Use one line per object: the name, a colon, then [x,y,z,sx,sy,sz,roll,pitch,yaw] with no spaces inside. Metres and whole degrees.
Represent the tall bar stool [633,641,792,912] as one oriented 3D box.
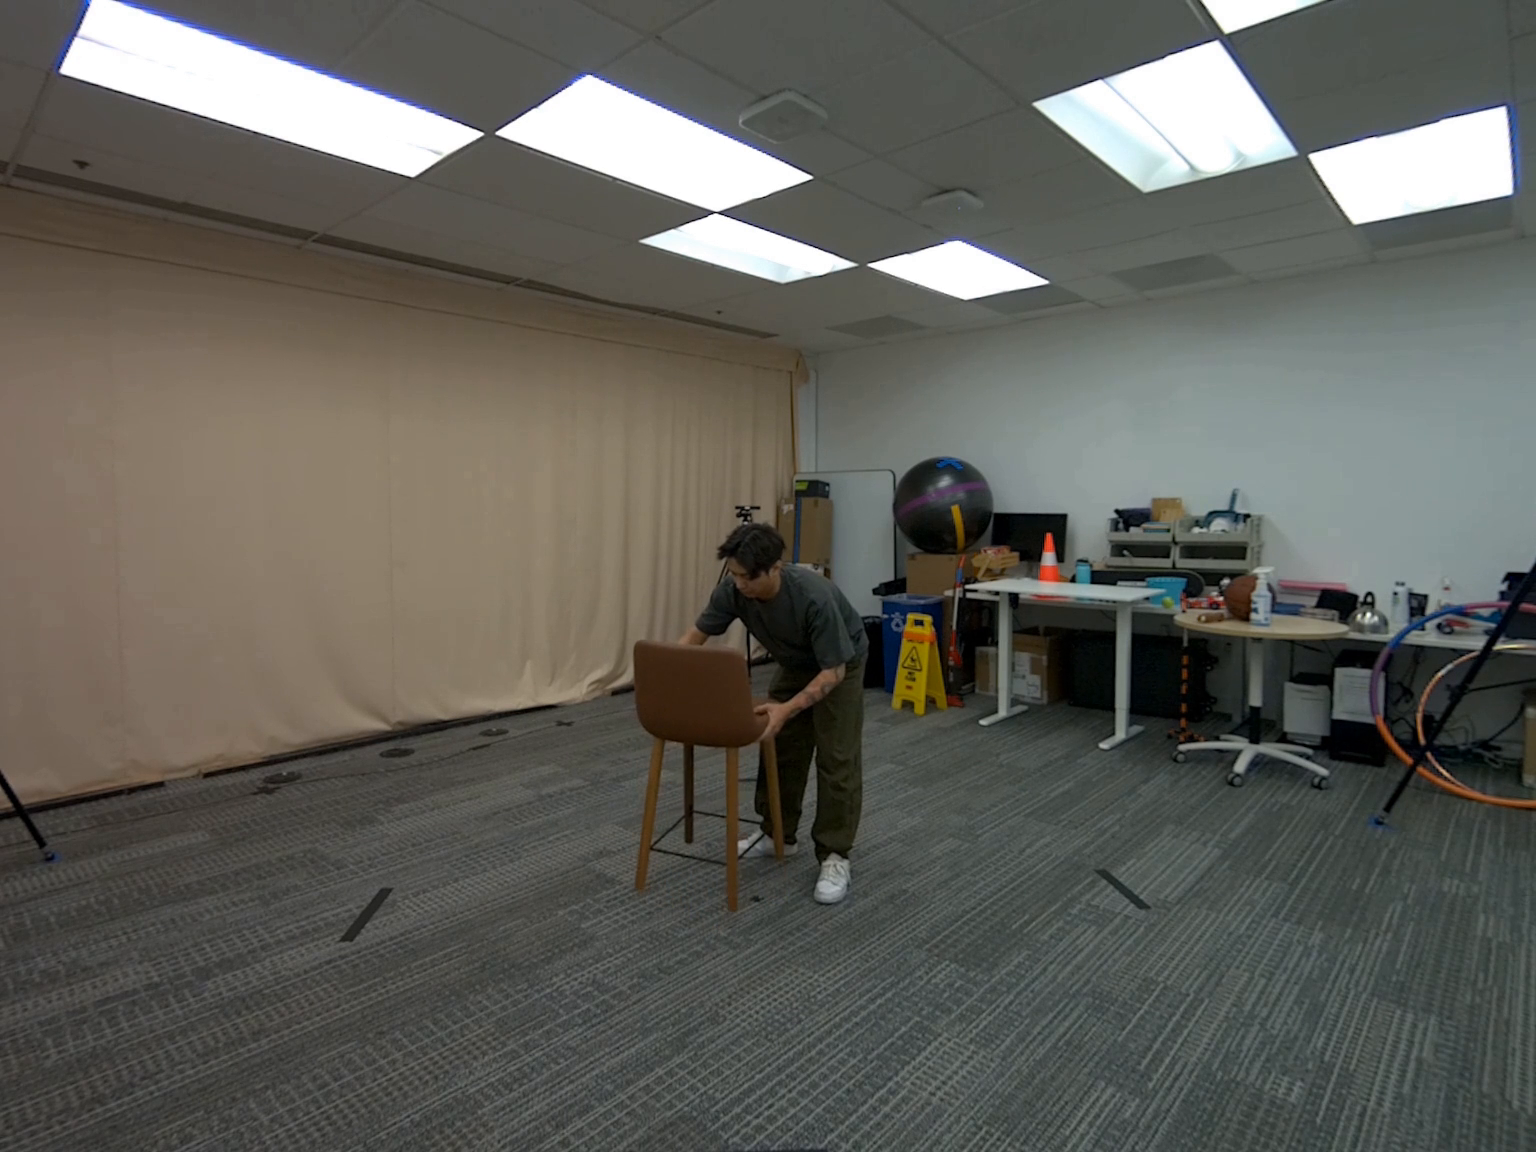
tall bar stool: [-0.196,0.637,2.980,0.468,0.886,0.458,2,6,23]
